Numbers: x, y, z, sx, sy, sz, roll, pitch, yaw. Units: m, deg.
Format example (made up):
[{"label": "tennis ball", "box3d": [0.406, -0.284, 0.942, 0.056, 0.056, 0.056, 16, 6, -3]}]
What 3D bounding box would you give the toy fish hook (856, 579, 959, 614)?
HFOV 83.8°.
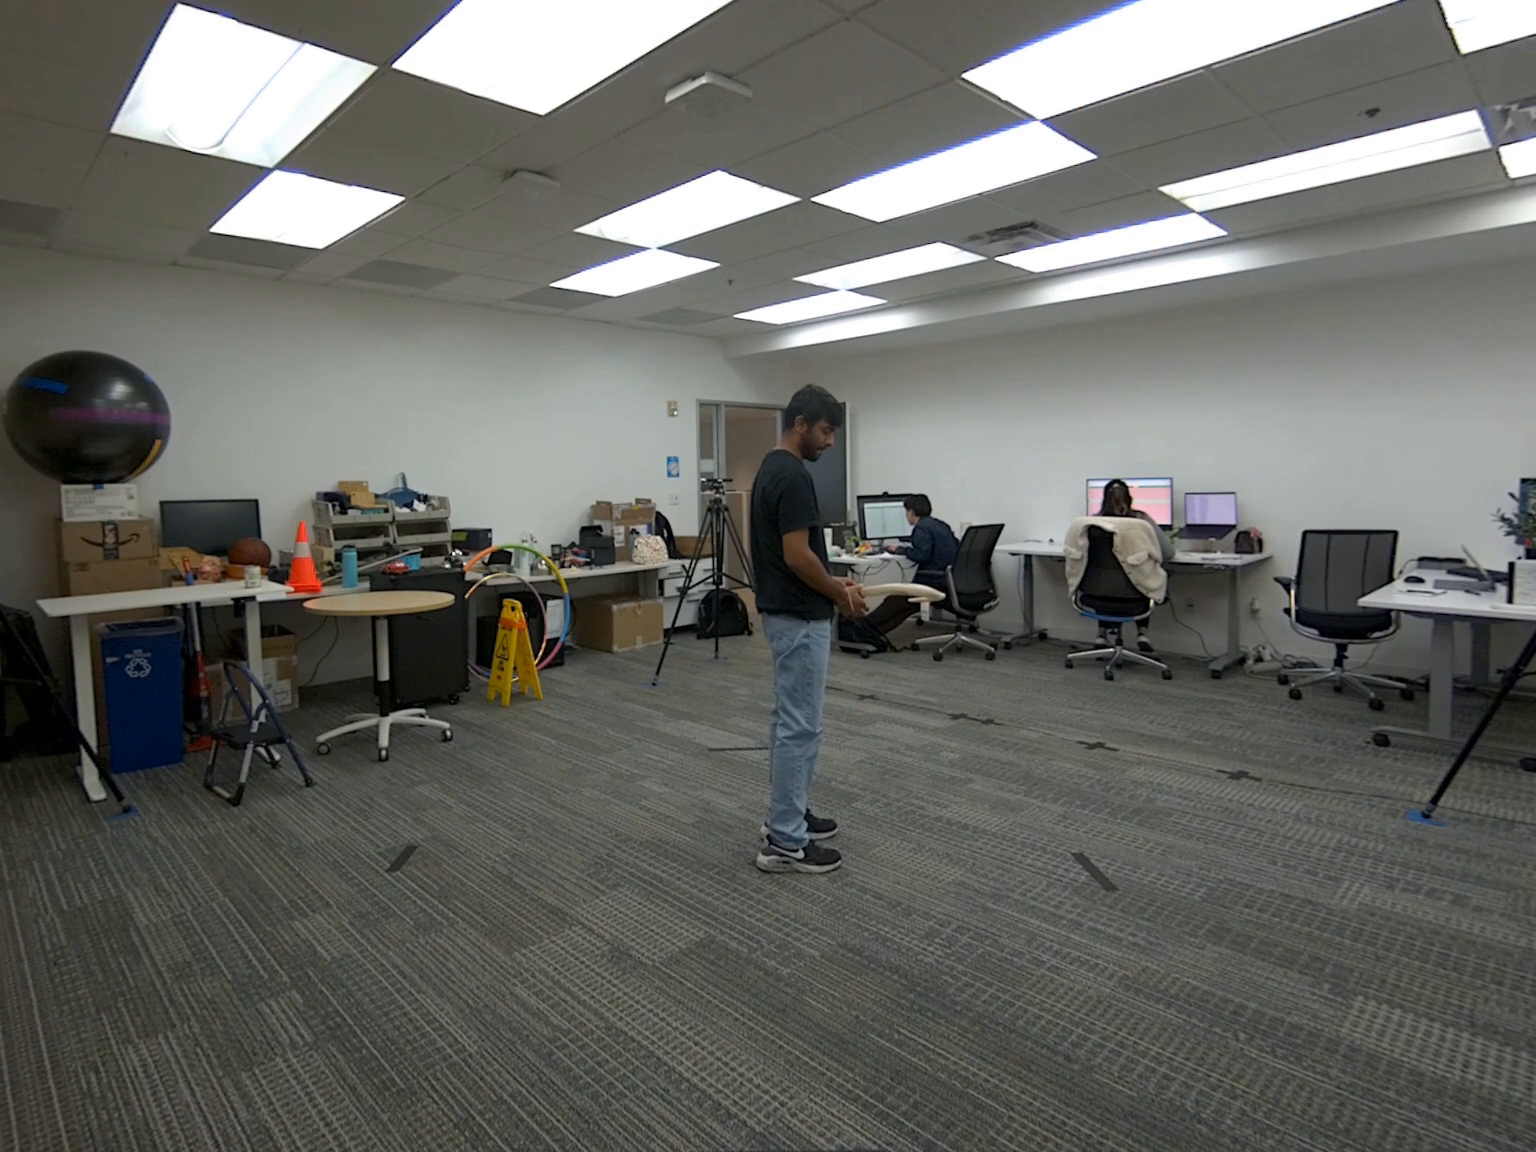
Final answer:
[{"label": "toy fish hook", "box3d": [0.433, 0.080, 3.225, 0.217, 0.049, 0.519, 24, -17, -37]}]
